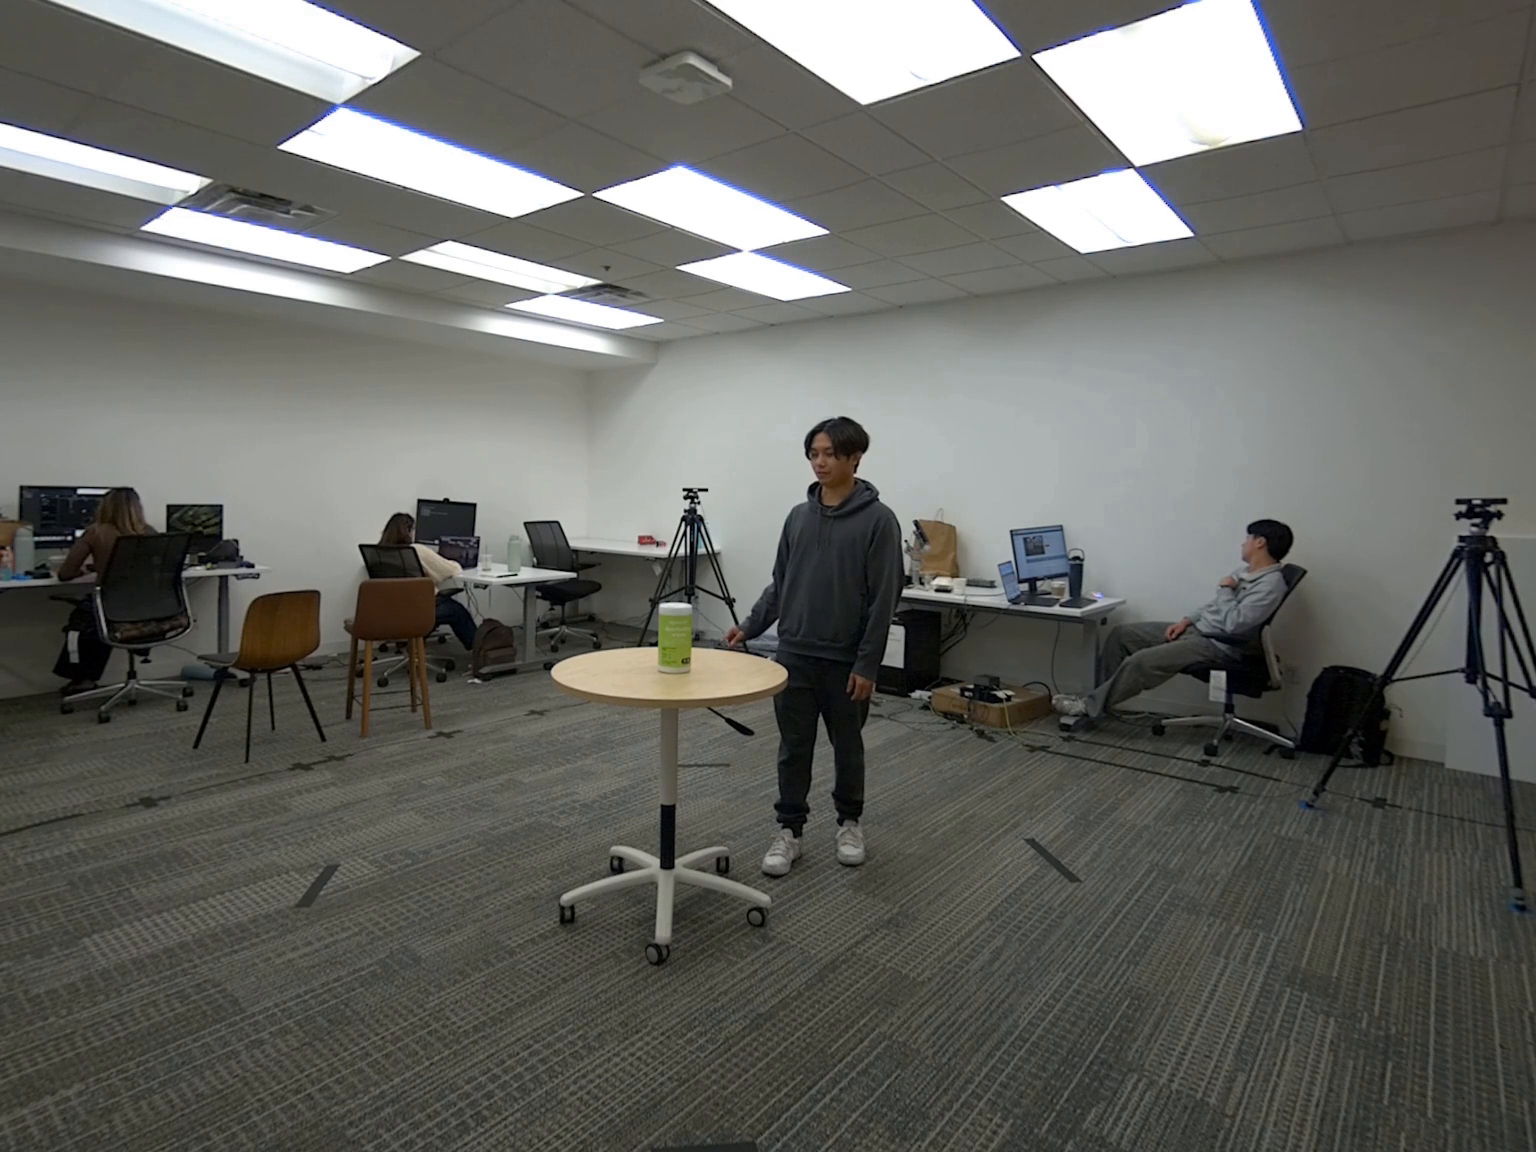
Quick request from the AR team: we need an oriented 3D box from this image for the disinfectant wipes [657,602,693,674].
[{"bbox_3d":[-0.312,0.198,2.754,0.117,0.217,0.118,2,4,-2],"label":"disinfectant wipes"}]
